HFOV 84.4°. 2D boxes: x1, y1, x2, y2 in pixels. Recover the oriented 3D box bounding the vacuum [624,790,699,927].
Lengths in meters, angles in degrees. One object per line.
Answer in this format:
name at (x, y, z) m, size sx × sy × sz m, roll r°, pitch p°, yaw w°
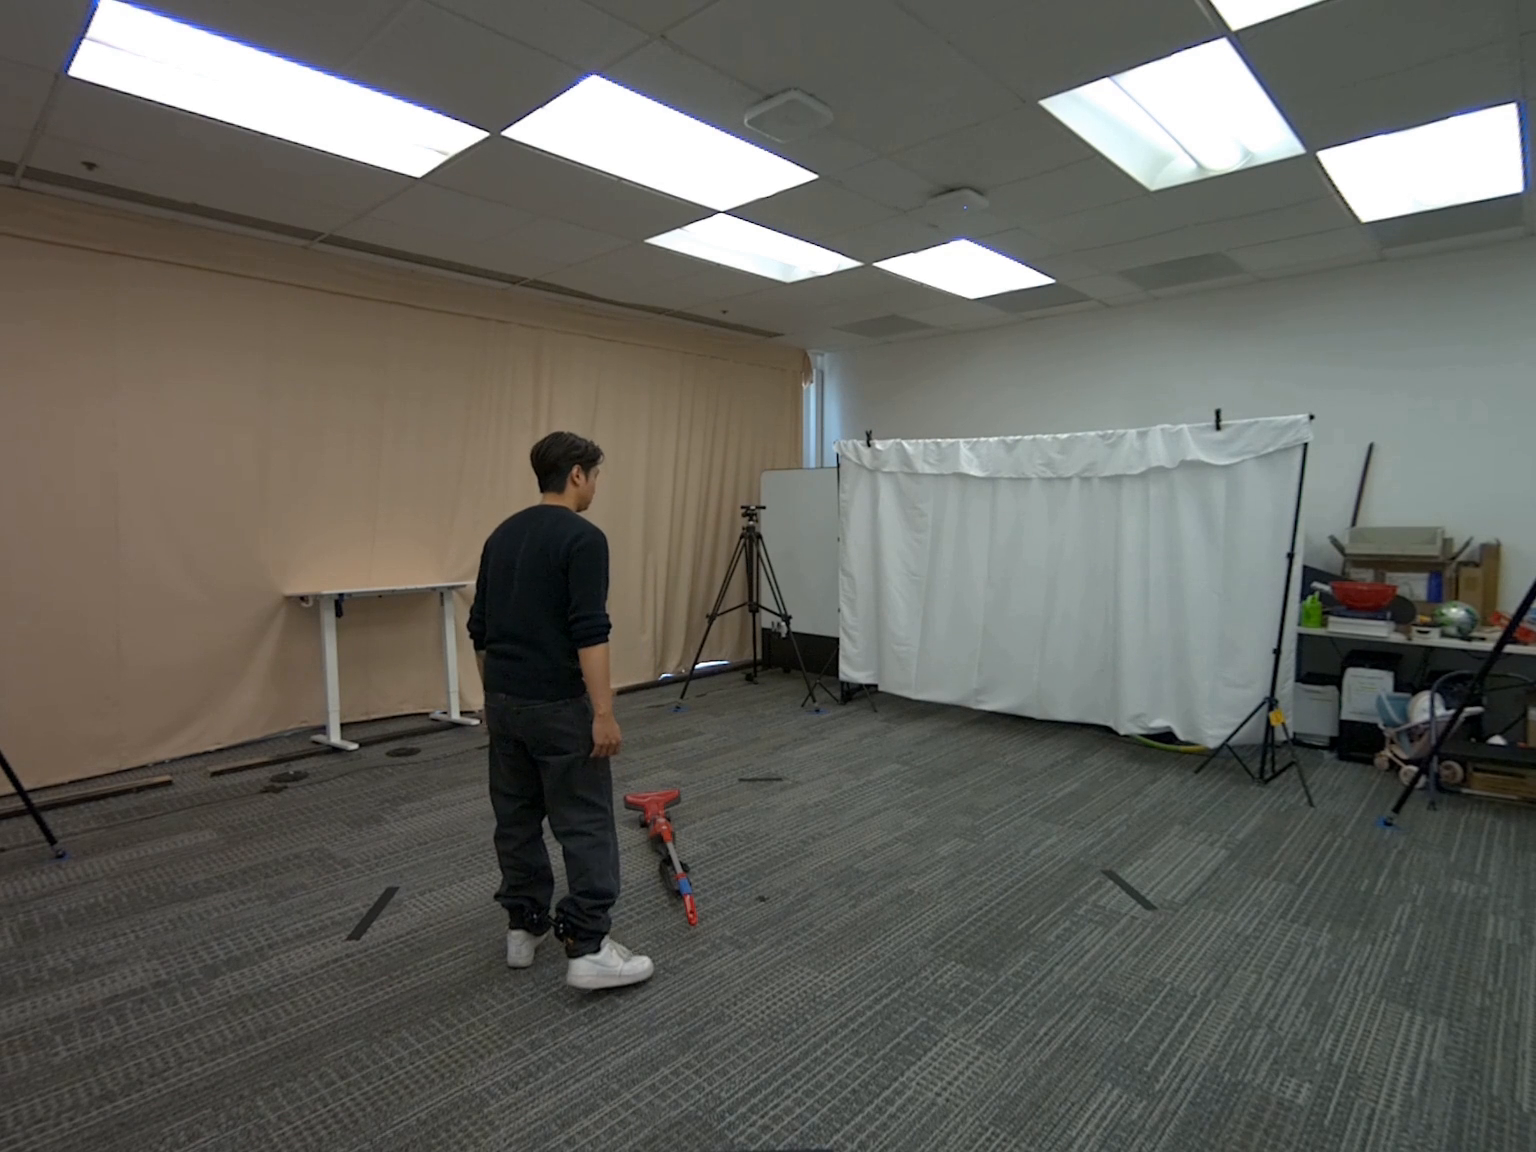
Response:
vacuum at (-0.369, 1.065, 3.199) m, size 0.249 × 0.143 × 1.067 m, roll -7°, pitch 7°, yaw -14°
